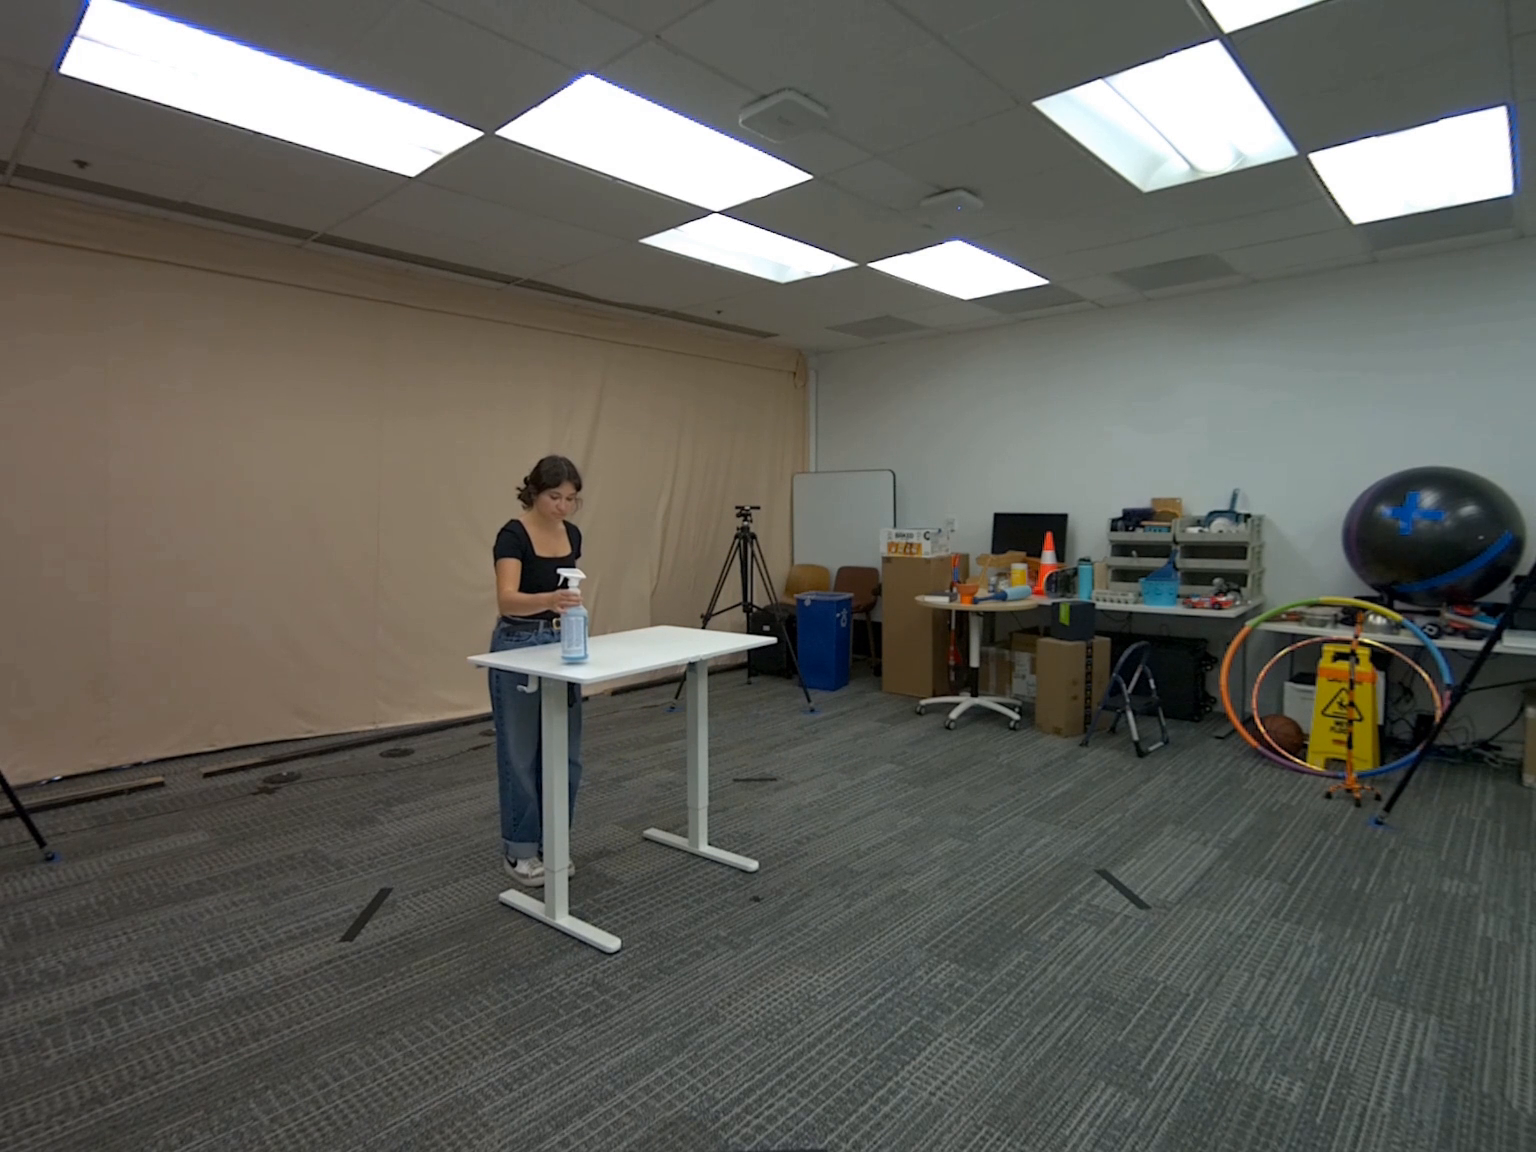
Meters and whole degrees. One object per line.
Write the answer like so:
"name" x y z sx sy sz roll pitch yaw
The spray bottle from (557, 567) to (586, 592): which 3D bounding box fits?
"spray bottle" -0.635 0.125 2.722 0.092 0.297 0.085 -1 1 23
